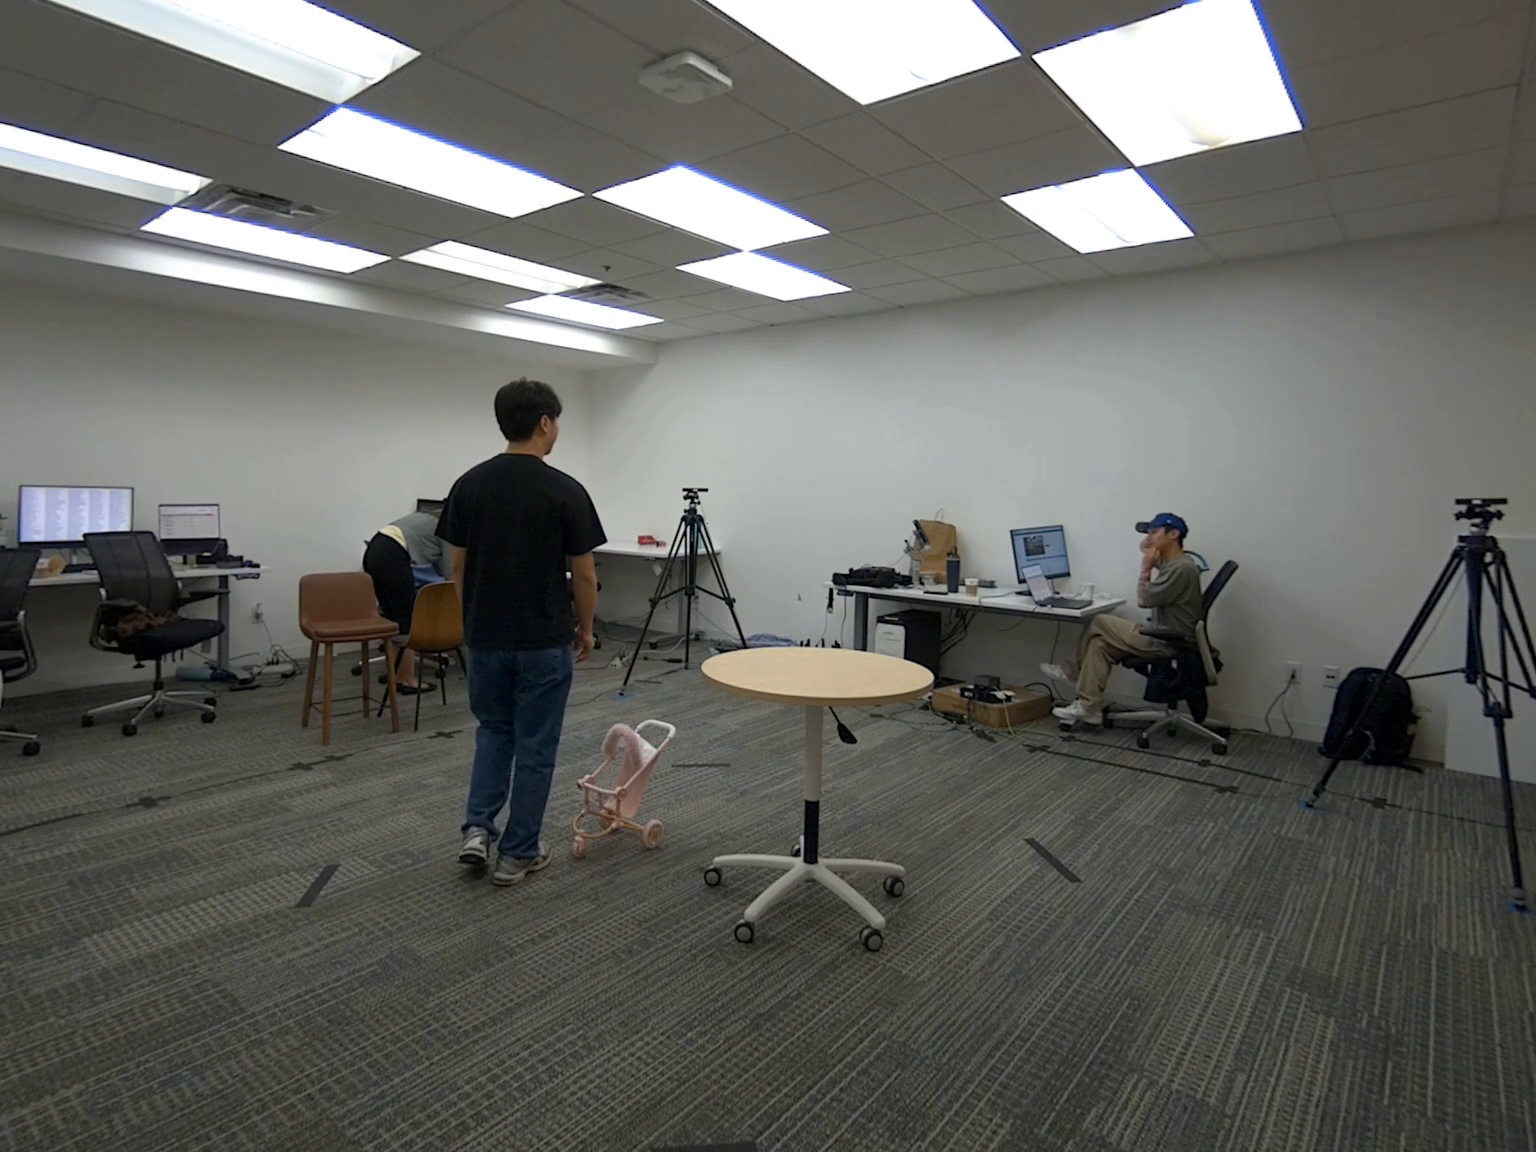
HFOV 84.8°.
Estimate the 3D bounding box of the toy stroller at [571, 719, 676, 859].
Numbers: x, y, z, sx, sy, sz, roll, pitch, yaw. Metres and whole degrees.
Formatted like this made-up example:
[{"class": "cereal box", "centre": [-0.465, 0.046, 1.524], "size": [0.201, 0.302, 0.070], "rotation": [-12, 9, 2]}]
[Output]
[{"class": "toy stroller", "centre": [-0.595, 0.817, 3.319], "size": [0.291, 0.538, 0.328], "rotation": [4, -10, 46]}]
